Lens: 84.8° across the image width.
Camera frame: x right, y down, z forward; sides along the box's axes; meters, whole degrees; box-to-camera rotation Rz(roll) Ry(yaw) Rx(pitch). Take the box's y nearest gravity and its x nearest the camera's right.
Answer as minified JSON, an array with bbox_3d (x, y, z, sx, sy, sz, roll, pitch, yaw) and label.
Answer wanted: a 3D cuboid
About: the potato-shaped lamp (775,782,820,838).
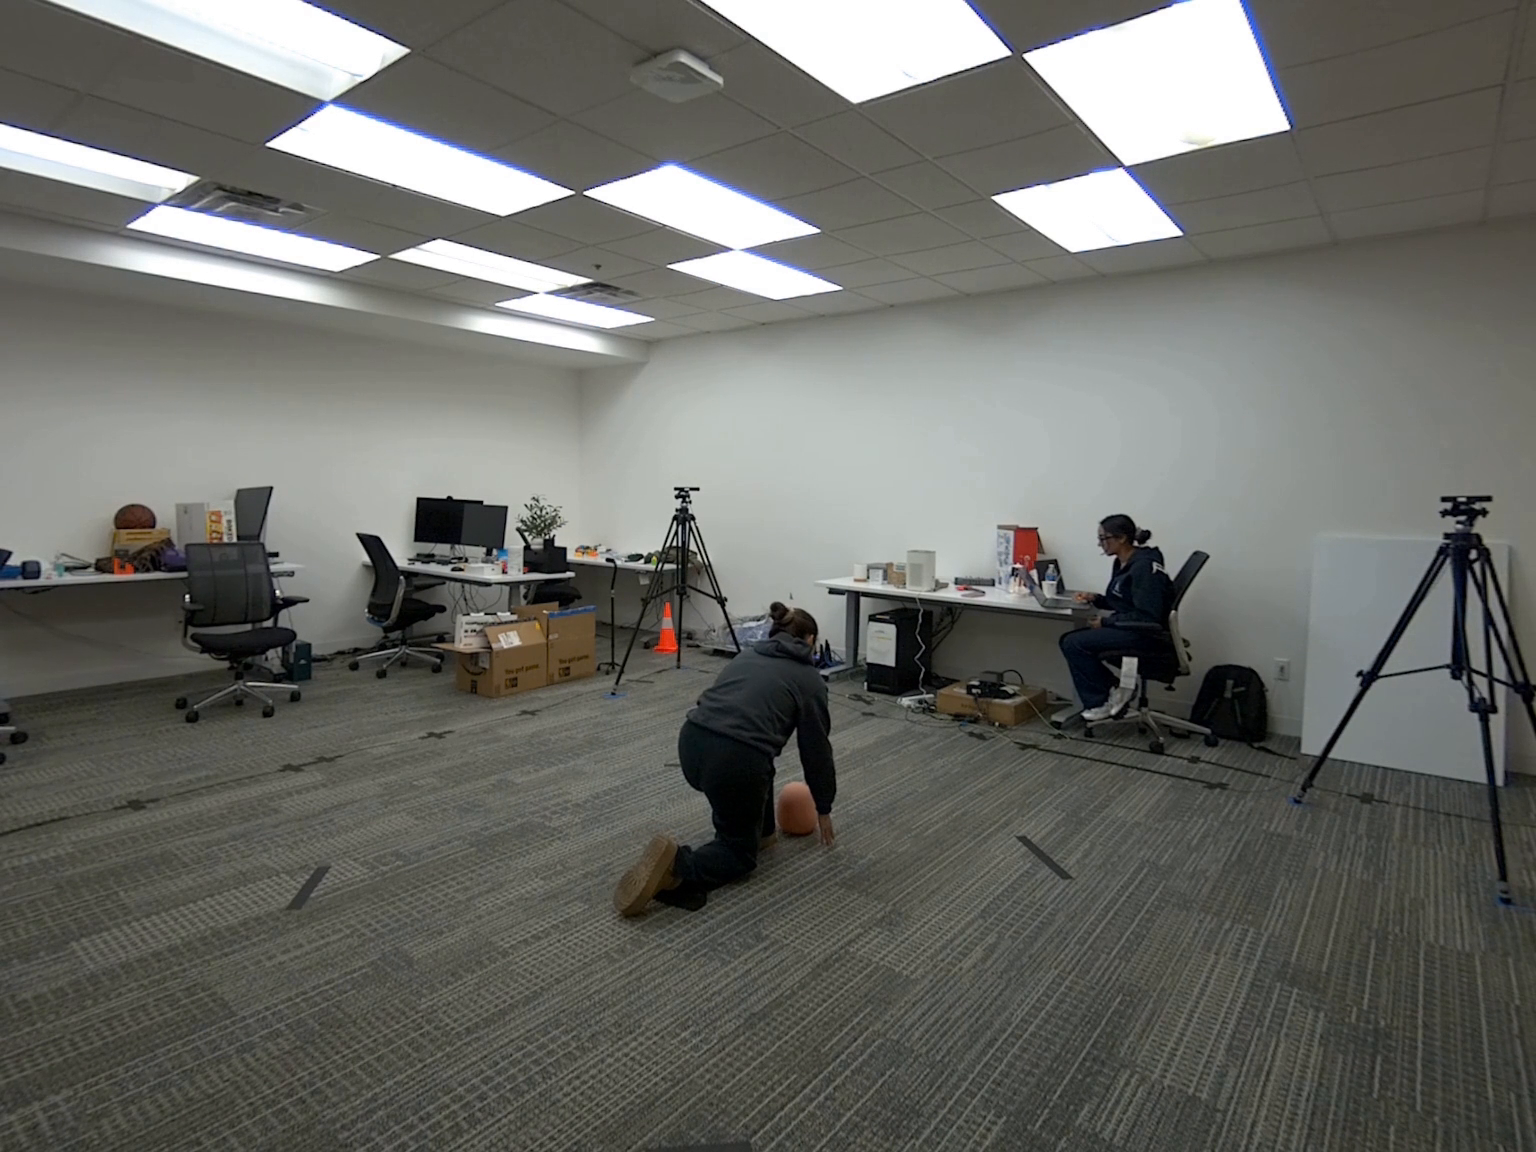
[{"bbox_3d":[0.114,0.934,3.463,0.170,0.198,0.167,0,3,35],"label":"potato-shaped lamp"}]
